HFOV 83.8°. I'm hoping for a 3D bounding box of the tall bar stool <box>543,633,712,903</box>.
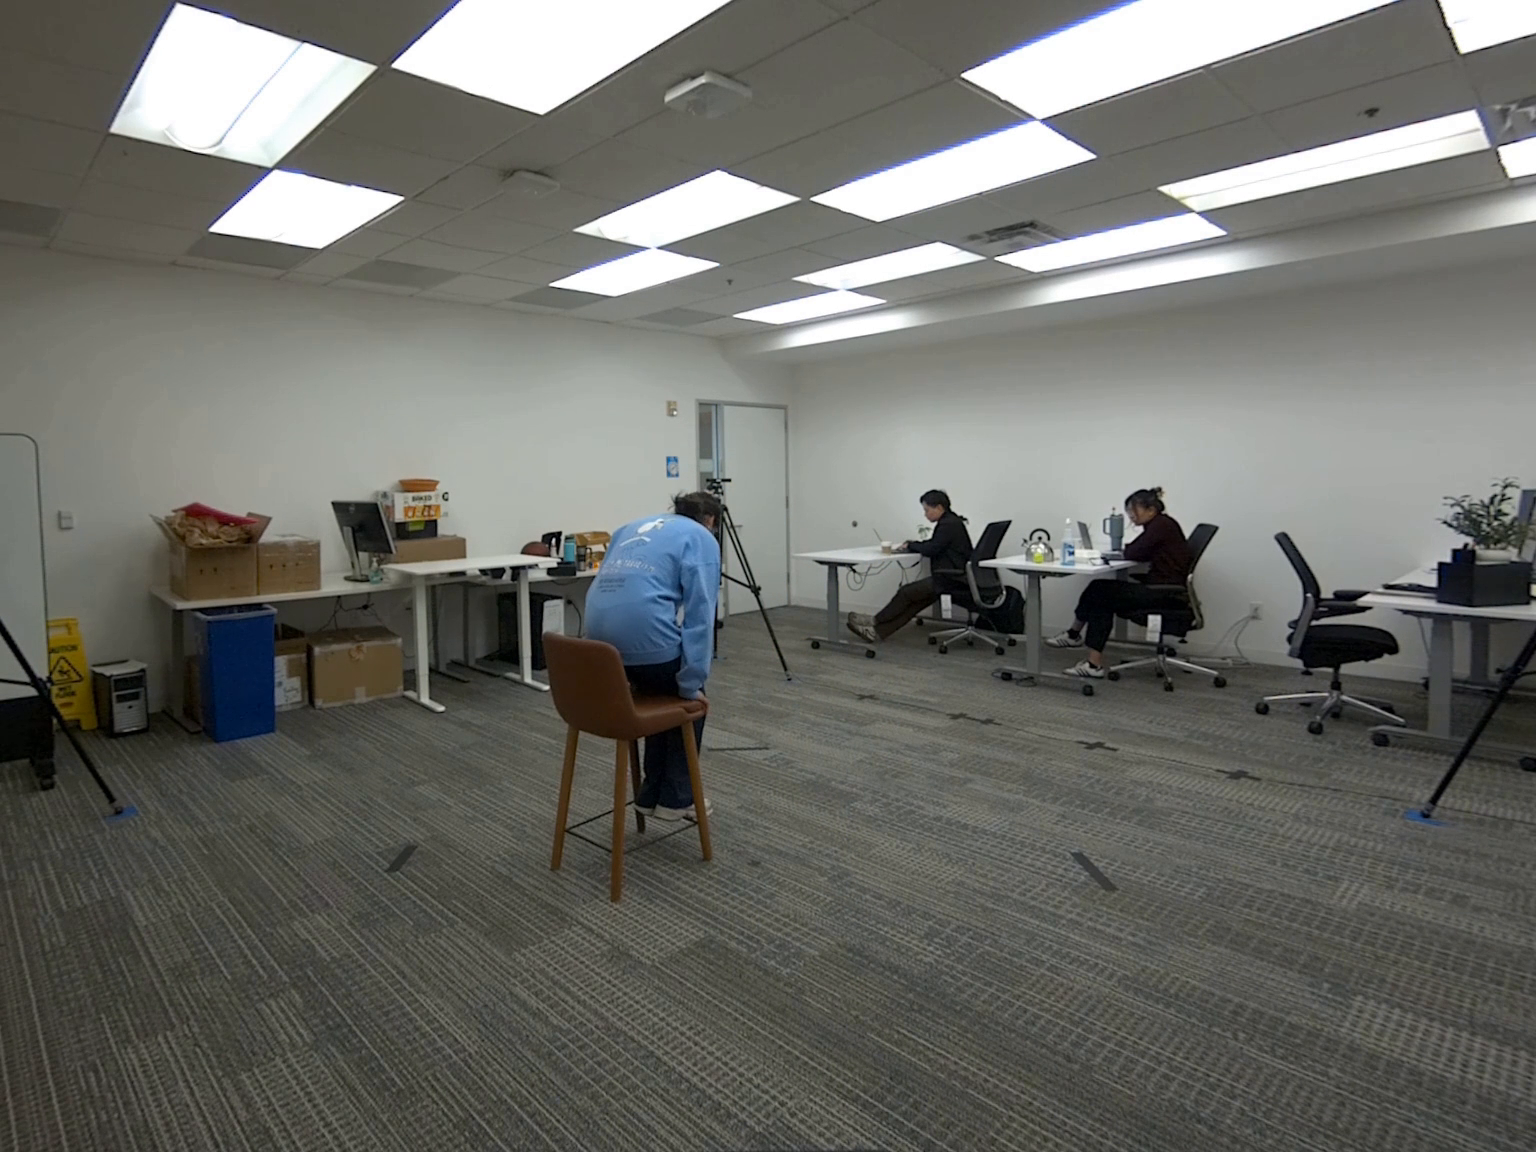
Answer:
[{"bbox_3d":[-0.515,0.619,3.089,0.470,0.885,0.456,3,7,43],"label":"tall bar stool"}]
